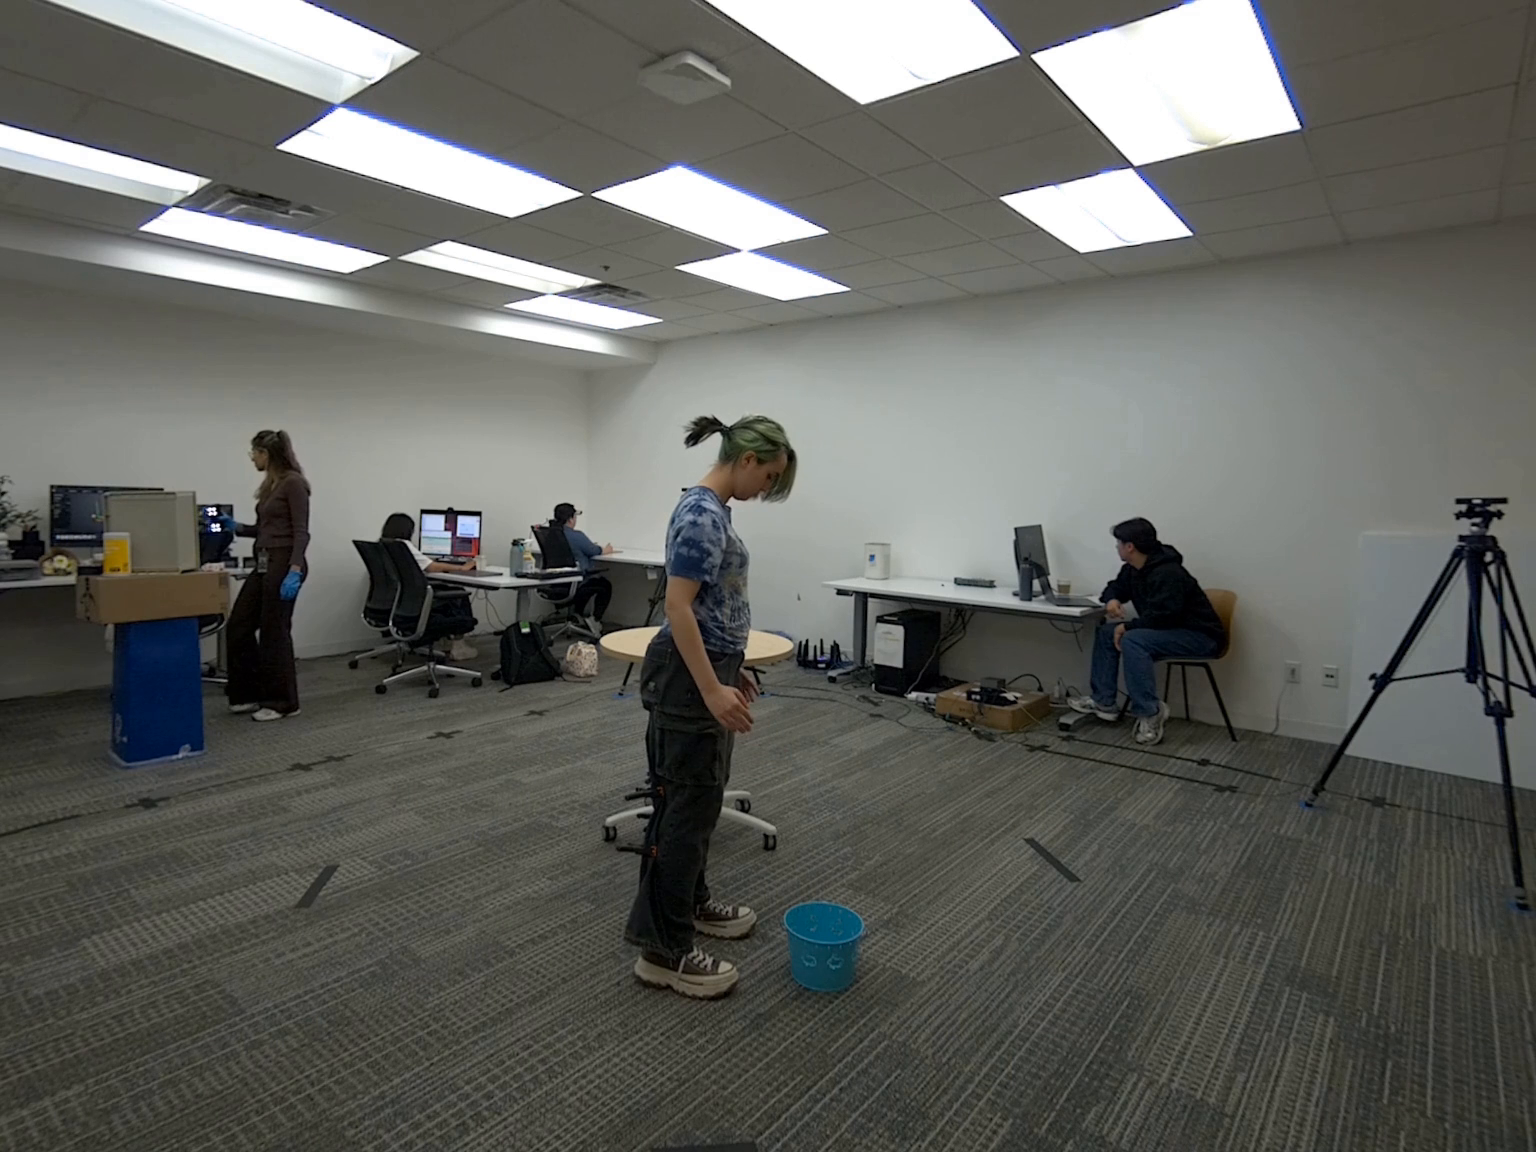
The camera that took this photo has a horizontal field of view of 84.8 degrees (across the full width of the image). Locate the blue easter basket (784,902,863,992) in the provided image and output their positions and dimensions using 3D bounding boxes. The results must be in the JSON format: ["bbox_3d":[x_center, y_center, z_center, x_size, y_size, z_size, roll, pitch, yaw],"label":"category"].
[{"bbox_3d":[0.162,1.066,2.451,0.243,0.155,0.245,2,5,-2],"label":"blue easter basket"}]
